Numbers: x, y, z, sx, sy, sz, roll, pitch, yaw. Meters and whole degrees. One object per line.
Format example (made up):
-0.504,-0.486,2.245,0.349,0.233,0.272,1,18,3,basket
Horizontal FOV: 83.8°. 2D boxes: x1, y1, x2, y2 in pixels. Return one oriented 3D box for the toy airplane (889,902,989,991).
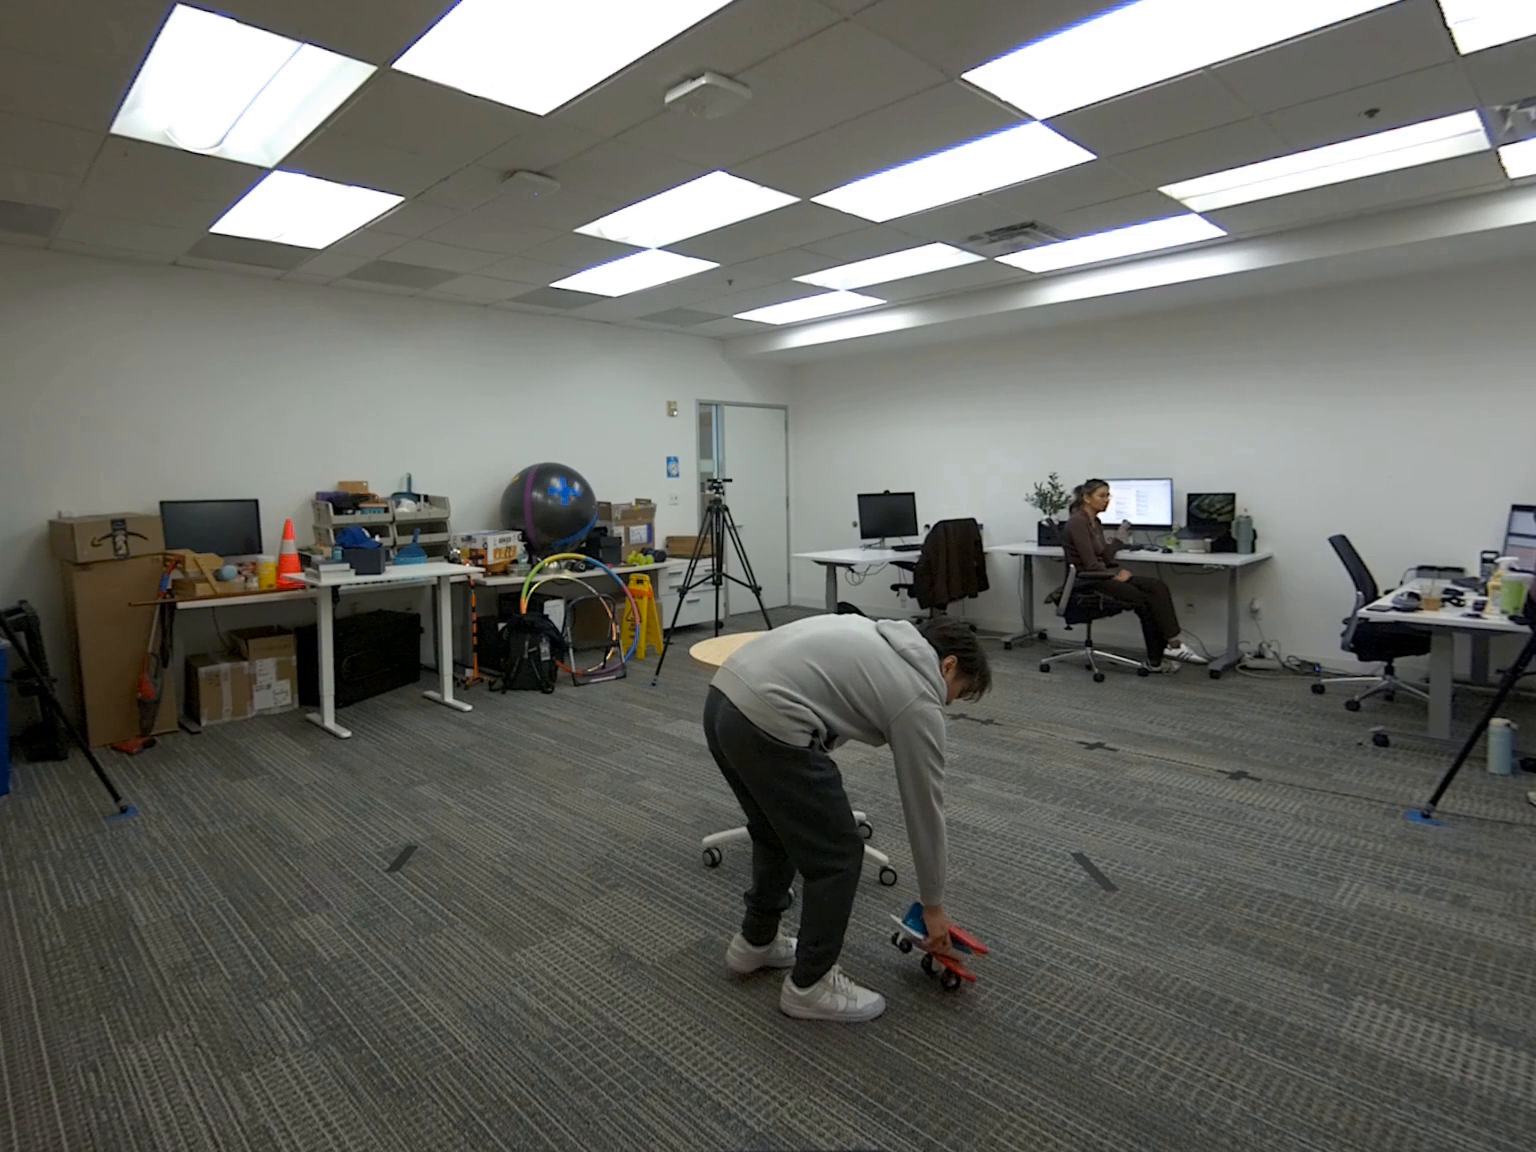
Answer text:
0.476,1.013,2.331,0.260,0.156,0.249,28,-17,37,toy airplane
